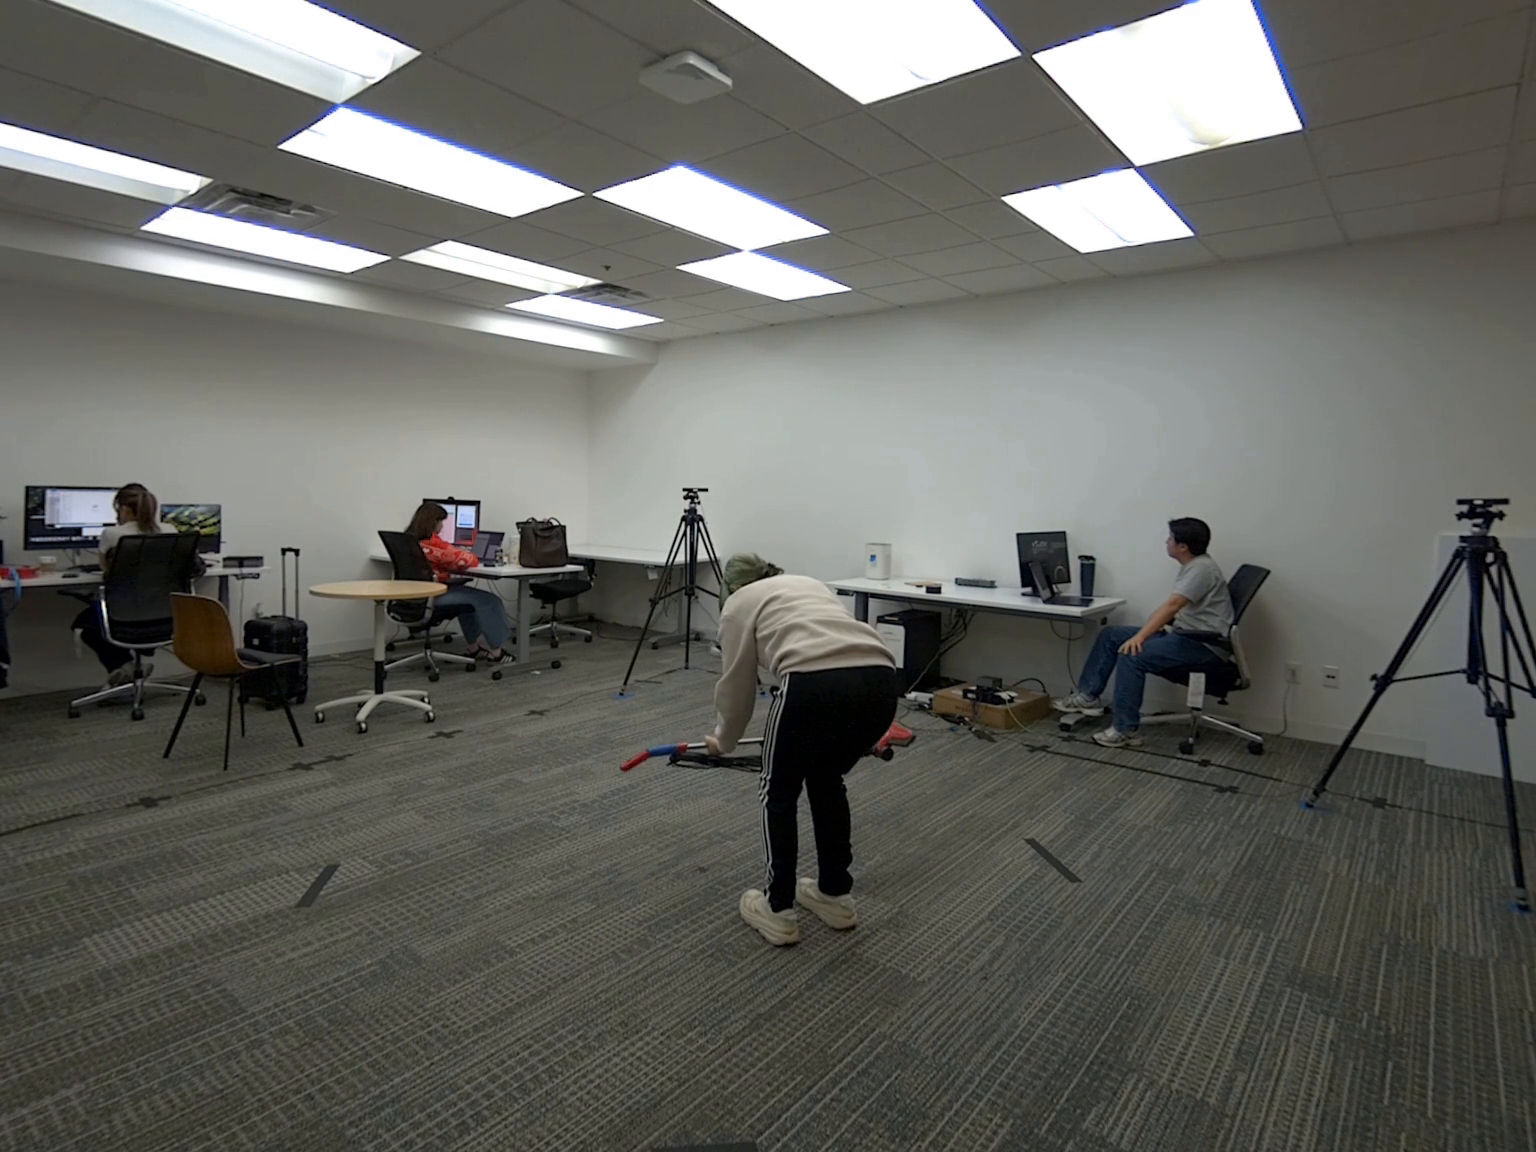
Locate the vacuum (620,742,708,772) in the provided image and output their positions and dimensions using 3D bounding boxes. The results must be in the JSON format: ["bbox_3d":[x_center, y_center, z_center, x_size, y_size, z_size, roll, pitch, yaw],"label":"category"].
[{"bbox_3d":[-0.033,0.644,3.082,1.027,0.143,0.259,-2,5,-22],"label":"vacuum"}]
